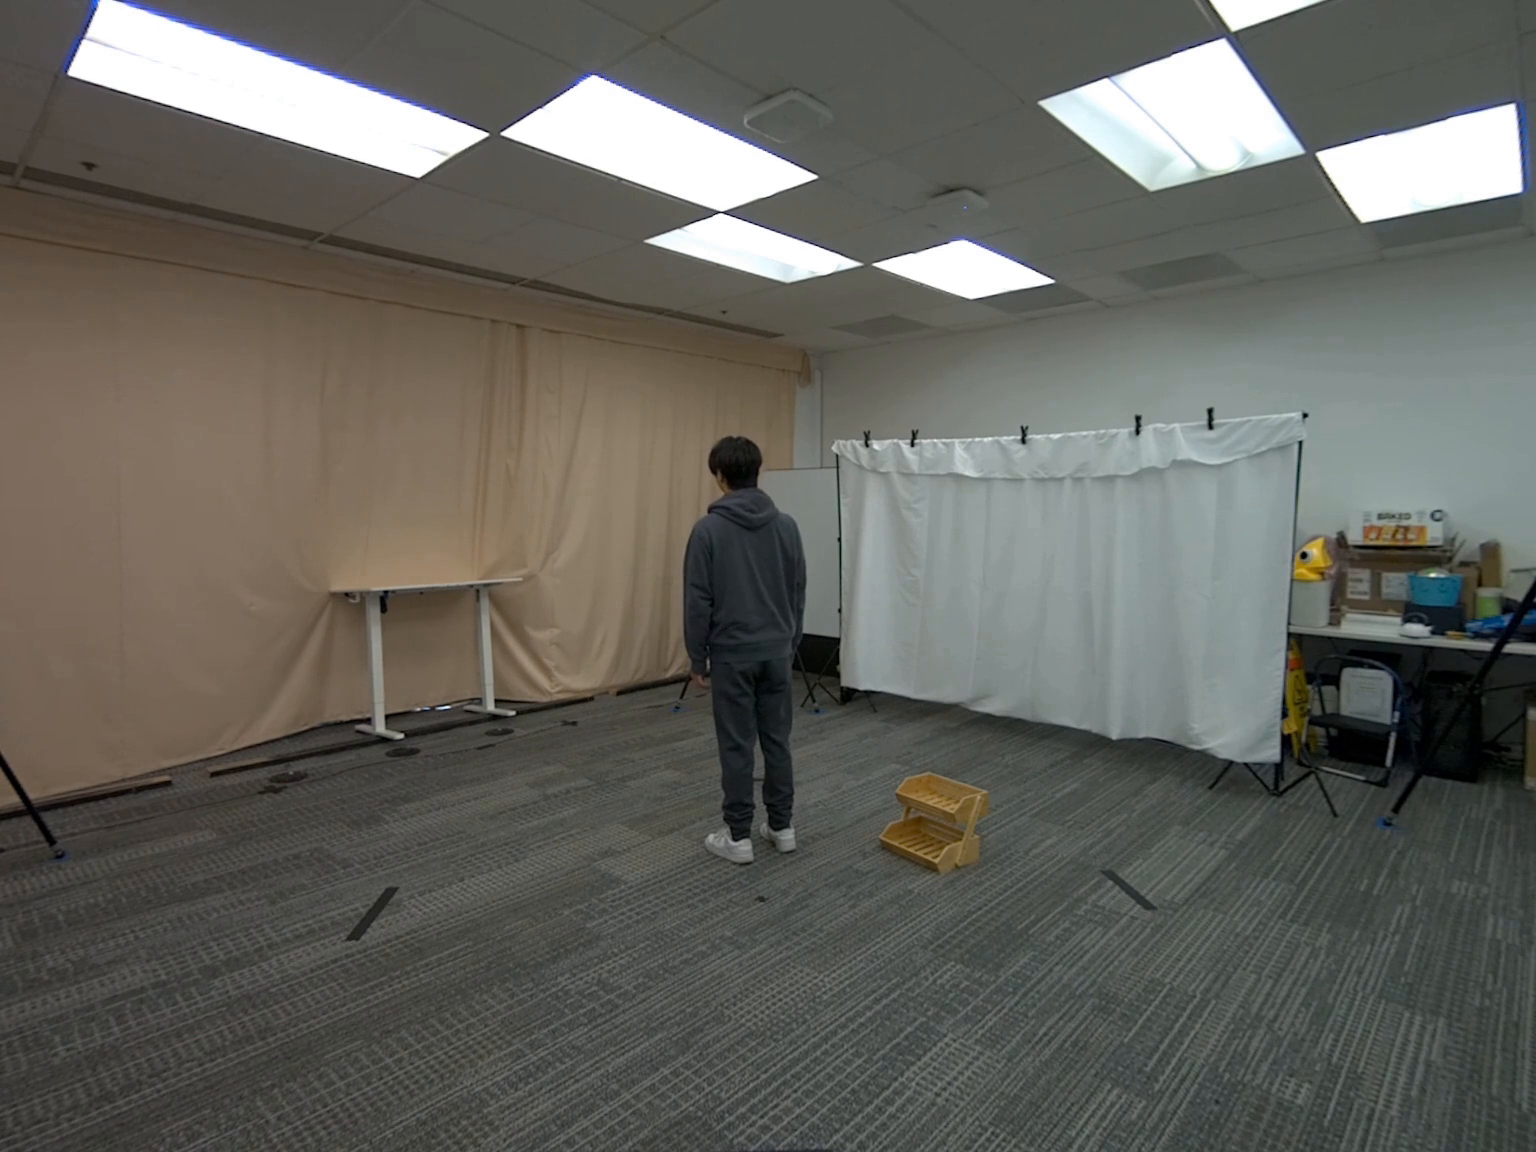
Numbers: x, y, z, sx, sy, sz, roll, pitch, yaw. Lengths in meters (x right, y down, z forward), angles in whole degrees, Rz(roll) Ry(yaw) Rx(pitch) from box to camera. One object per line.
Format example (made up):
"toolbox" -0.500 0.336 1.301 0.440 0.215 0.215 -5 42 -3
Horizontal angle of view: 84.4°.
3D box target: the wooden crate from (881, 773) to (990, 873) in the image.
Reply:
"wooden crate" 0.663 0.973 3.375 0.293 0.273 0.335 -2 4 -38
